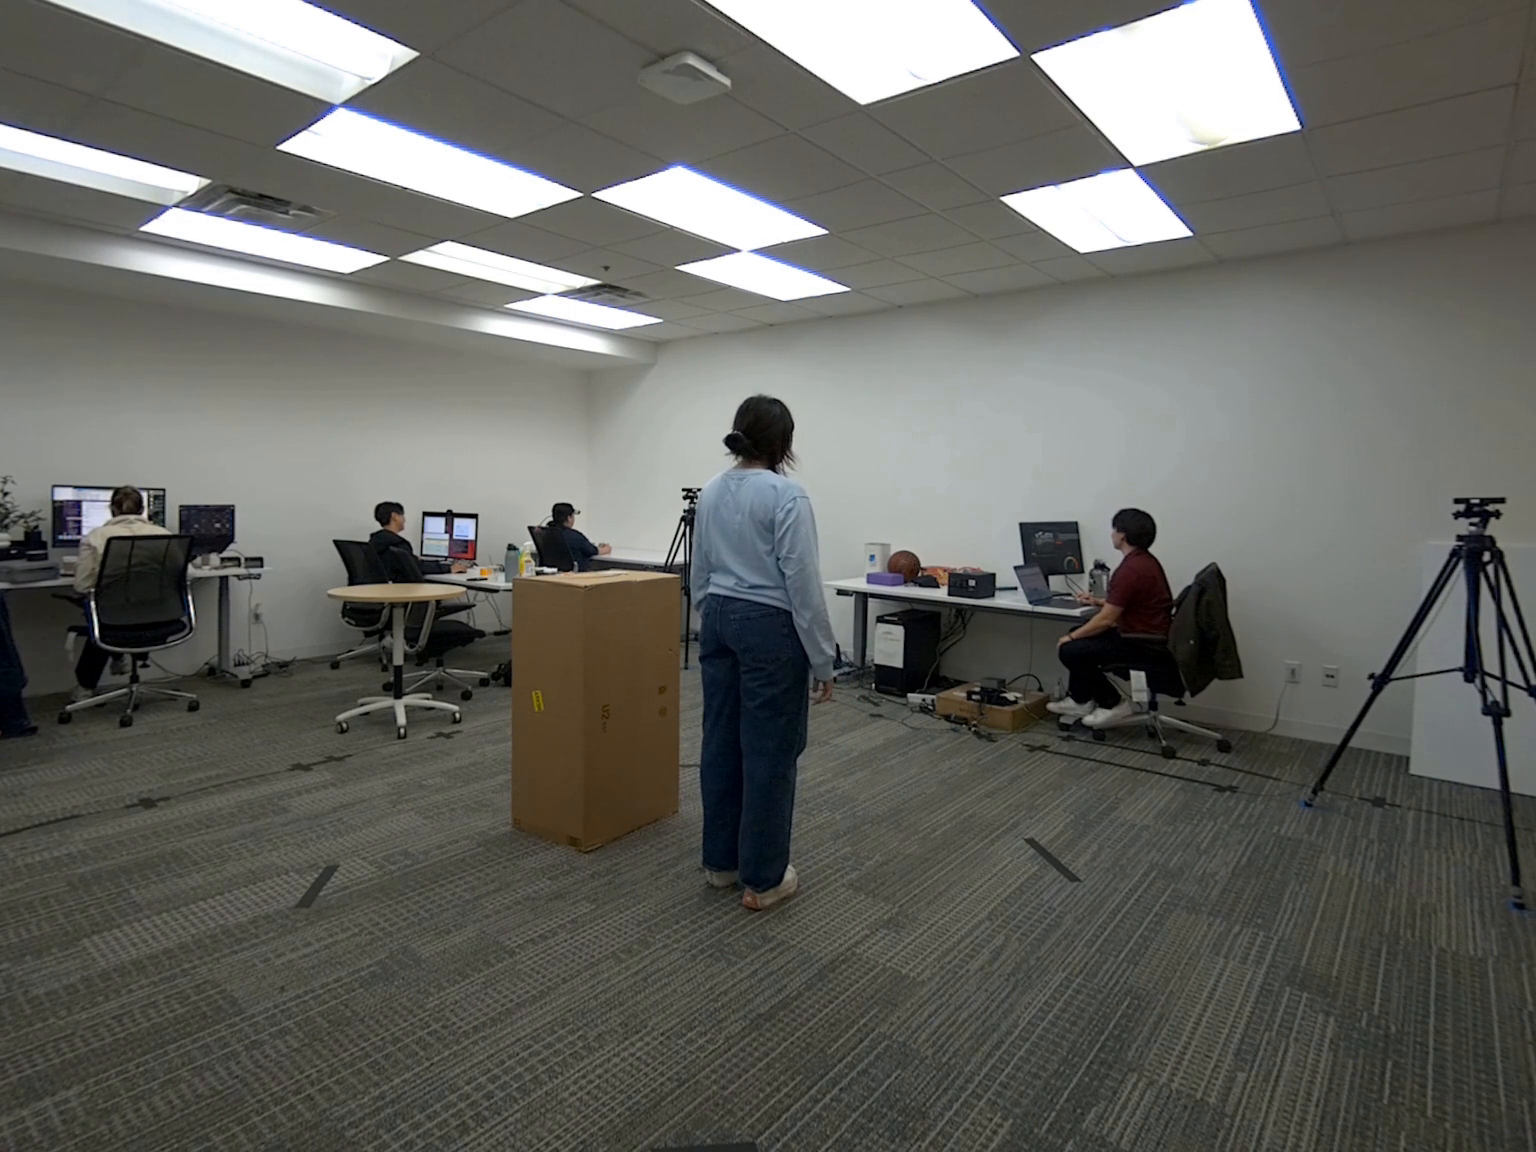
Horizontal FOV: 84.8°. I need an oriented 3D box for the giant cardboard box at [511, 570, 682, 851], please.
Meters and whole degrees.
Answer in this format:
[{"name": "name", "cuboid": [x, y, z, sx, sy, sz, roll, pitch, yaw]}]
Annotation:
[{"name": "giant cardboard box", "cuboid": [-0.725, 0.508, 3.560, 0.461, 1.025, 0.567, 2, 3, 37]}]
